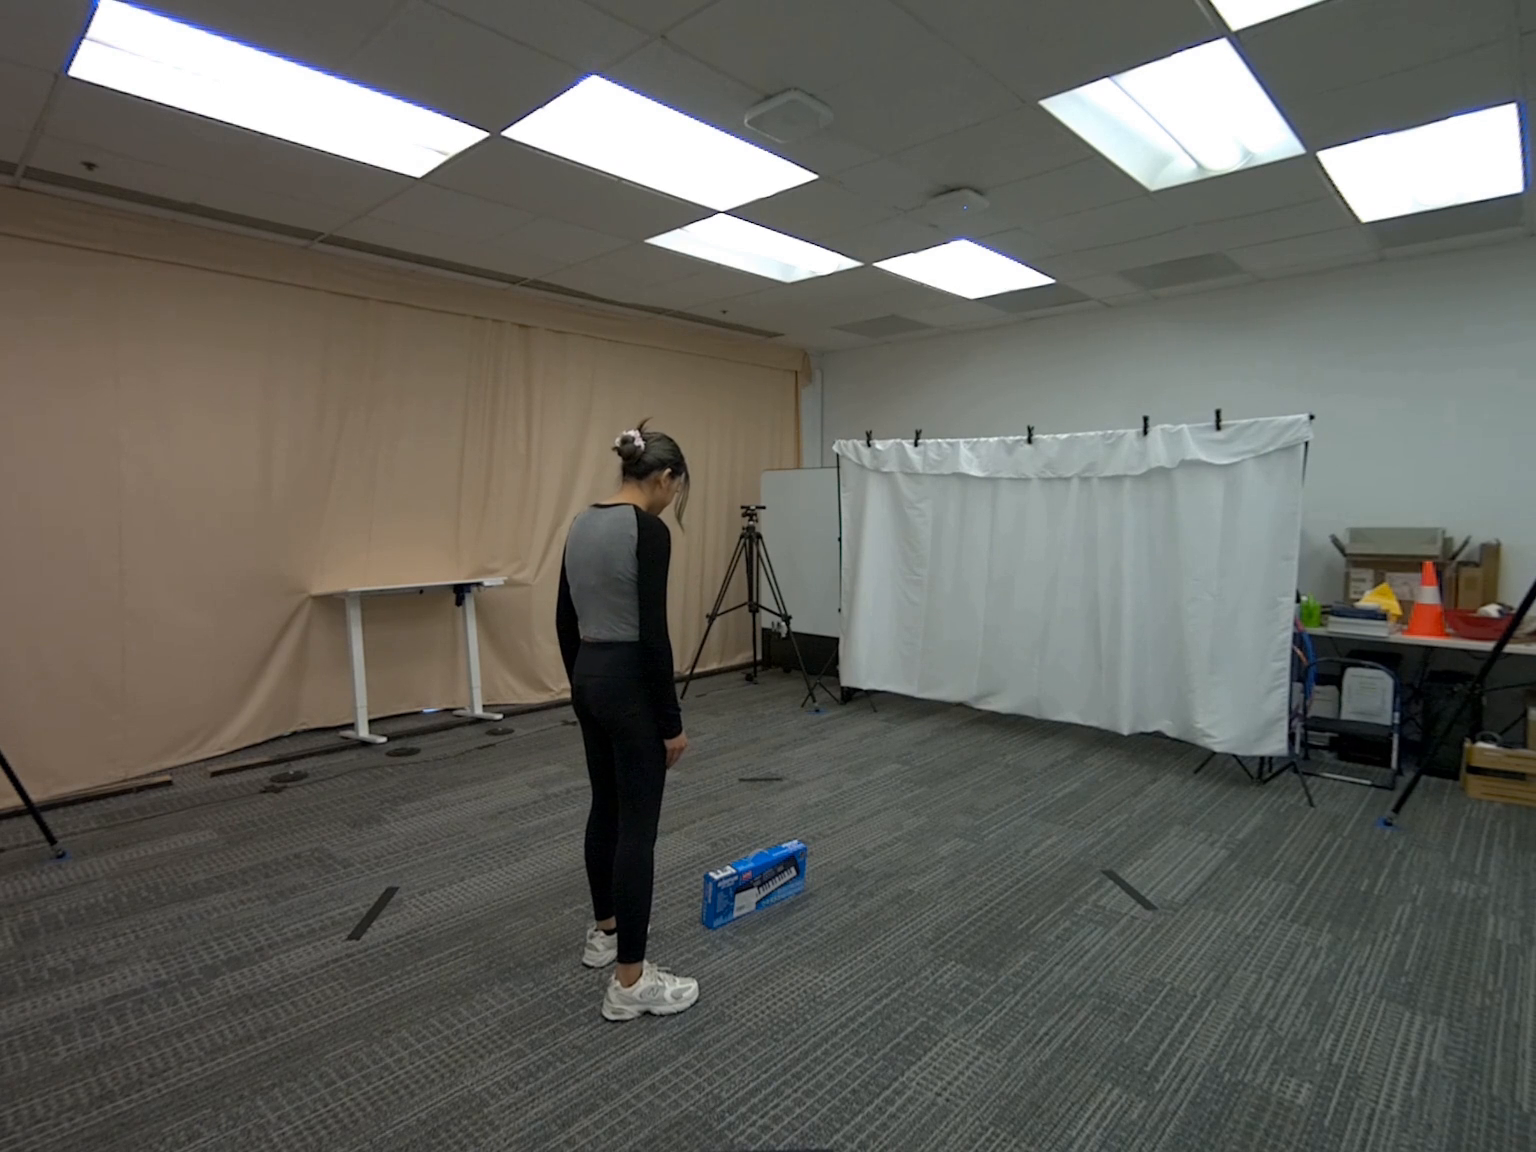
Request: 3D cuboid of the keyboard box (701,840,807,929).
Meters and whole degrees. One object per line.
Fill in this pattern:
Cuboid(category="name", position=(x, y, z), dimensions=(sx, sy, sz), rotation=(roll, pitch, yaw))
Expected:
Cuboid(category="keyboard box", position=(-0.039, 1.064, 2.913), dimensions=(0.423, 0.175, 0.061), rotation=(-4, 11, -42))
